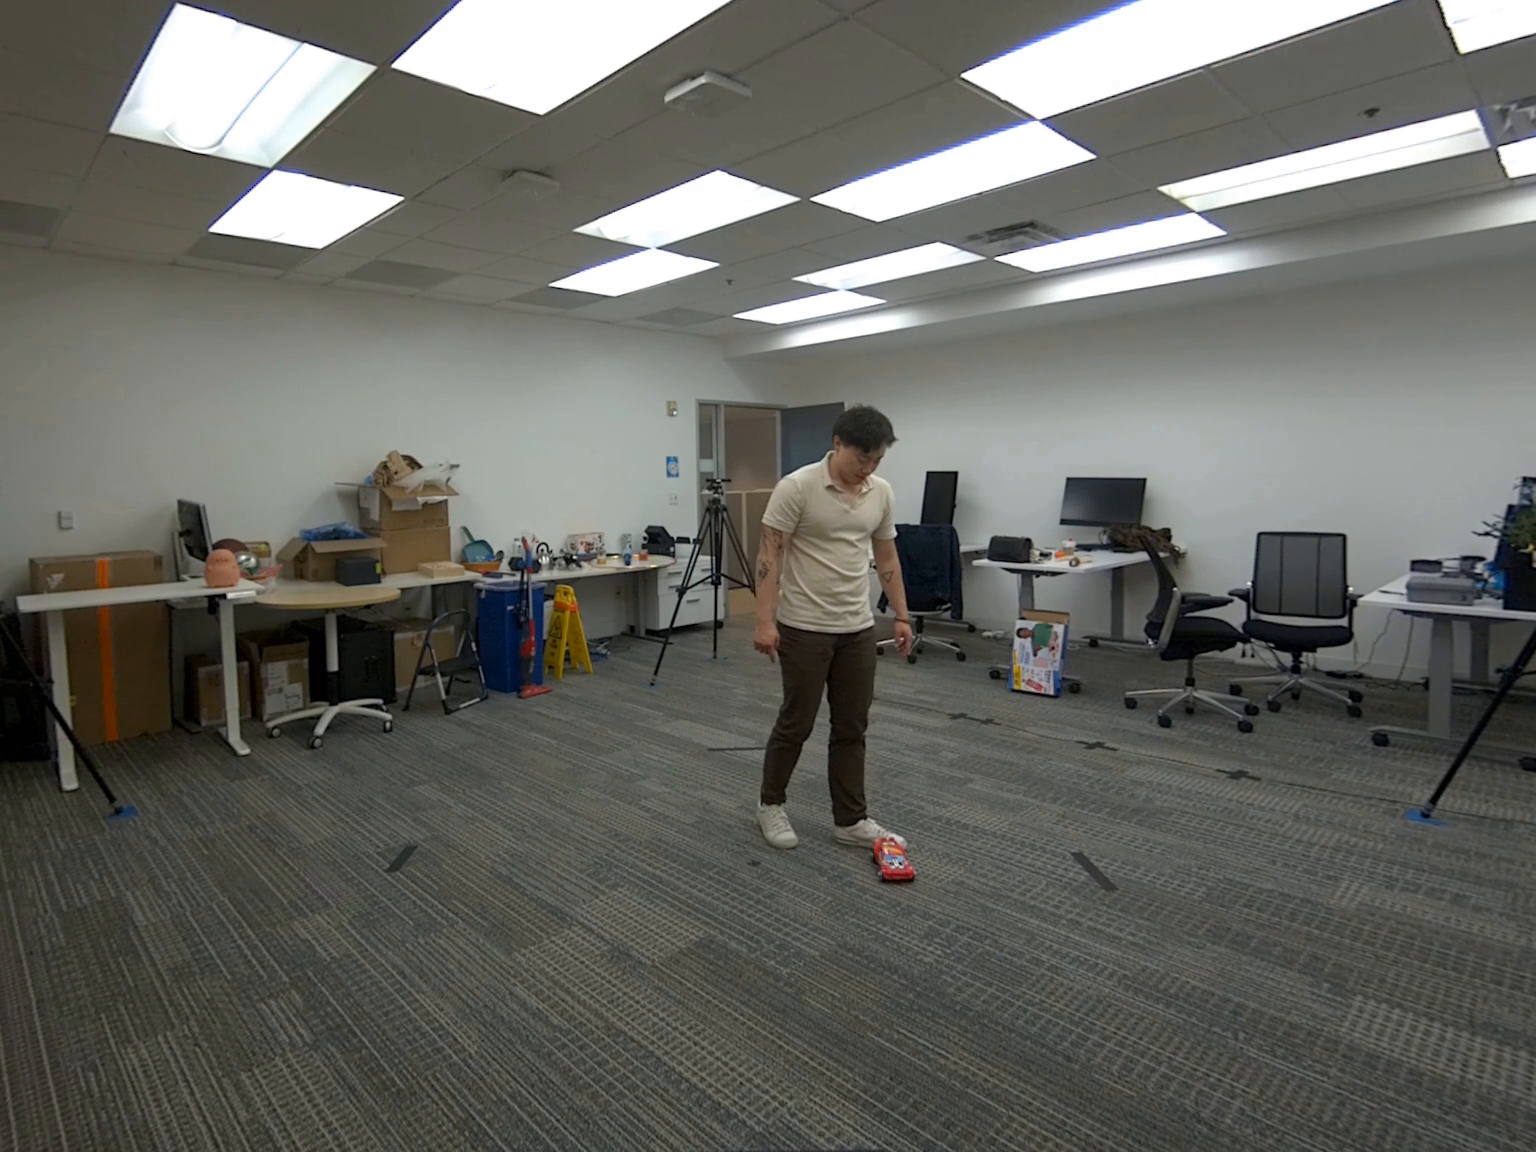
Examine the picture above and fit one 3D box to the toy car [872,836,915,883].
[{"bbox_3d":[0.444,1.012,3.046,0.130,0.082,0.258,-1,17,0],"label":"toy car"}]
